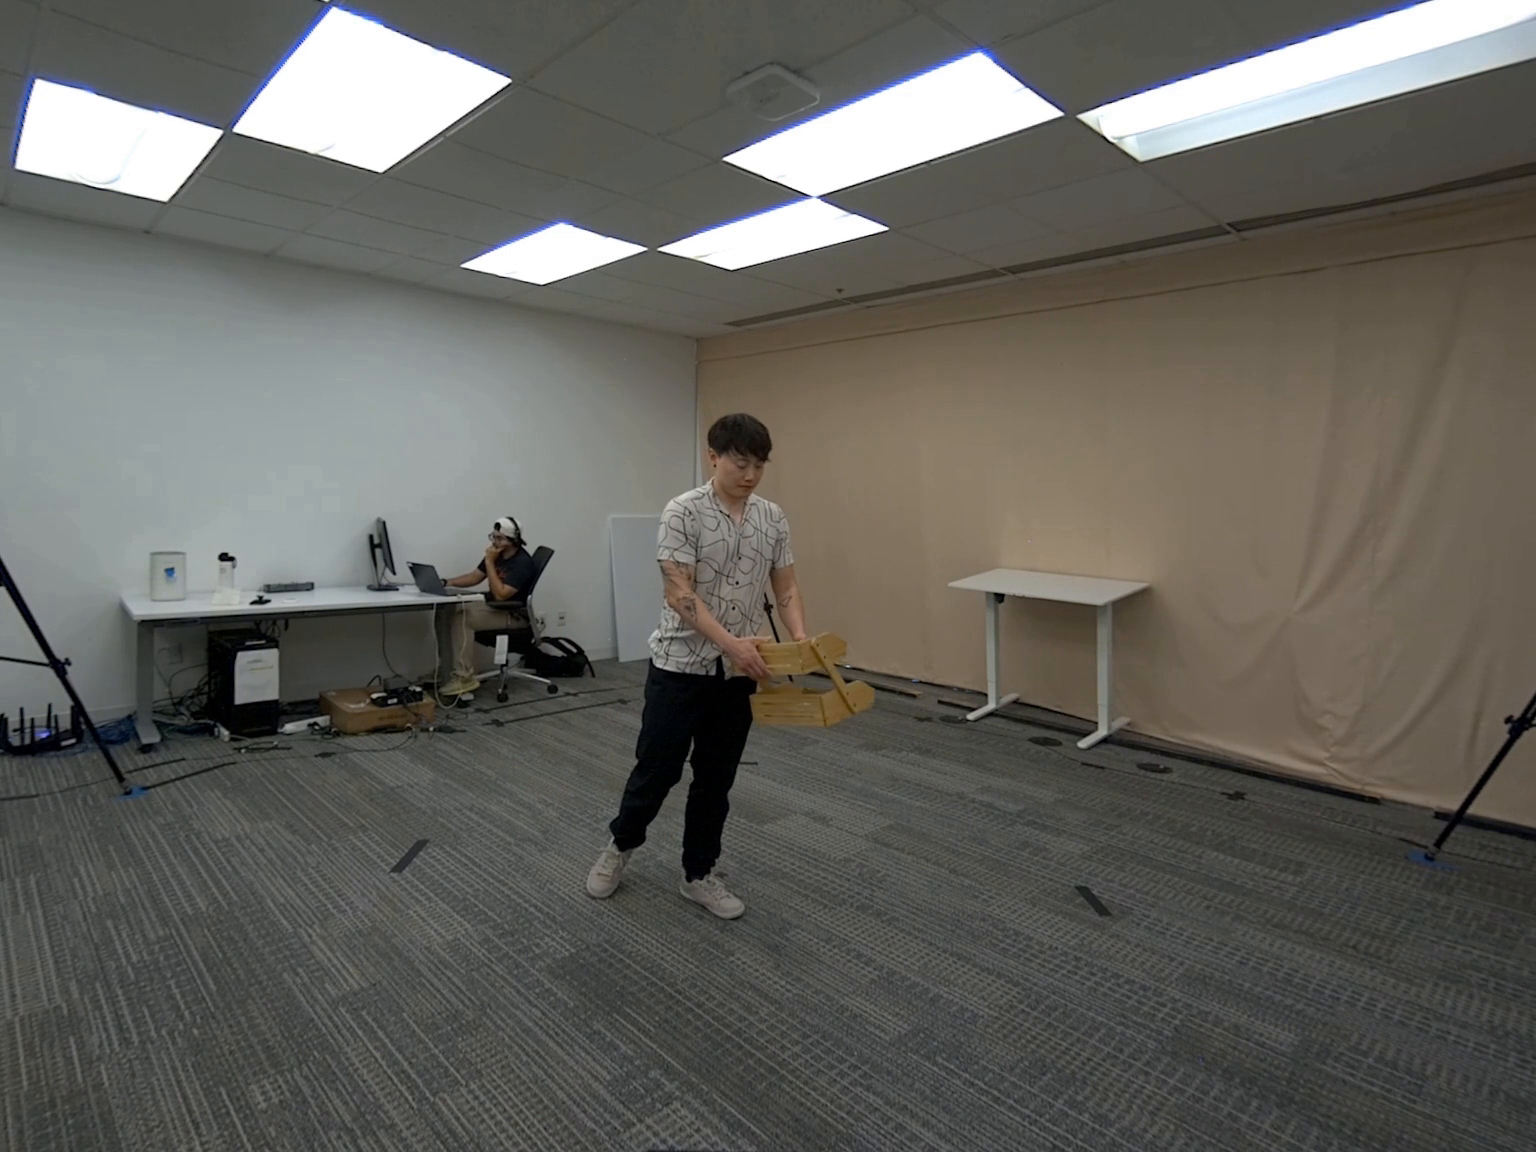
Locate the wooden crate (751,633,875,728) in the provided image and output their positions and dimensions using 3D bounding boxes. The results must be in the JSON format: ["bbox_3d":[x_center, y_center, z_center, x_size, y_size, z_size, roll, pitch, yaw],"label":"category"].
[{"bbox_3d":[0.105,0.311,2.615,0.331,0.273,0.297,-9,4,45],"label":"wooden crate"}]
